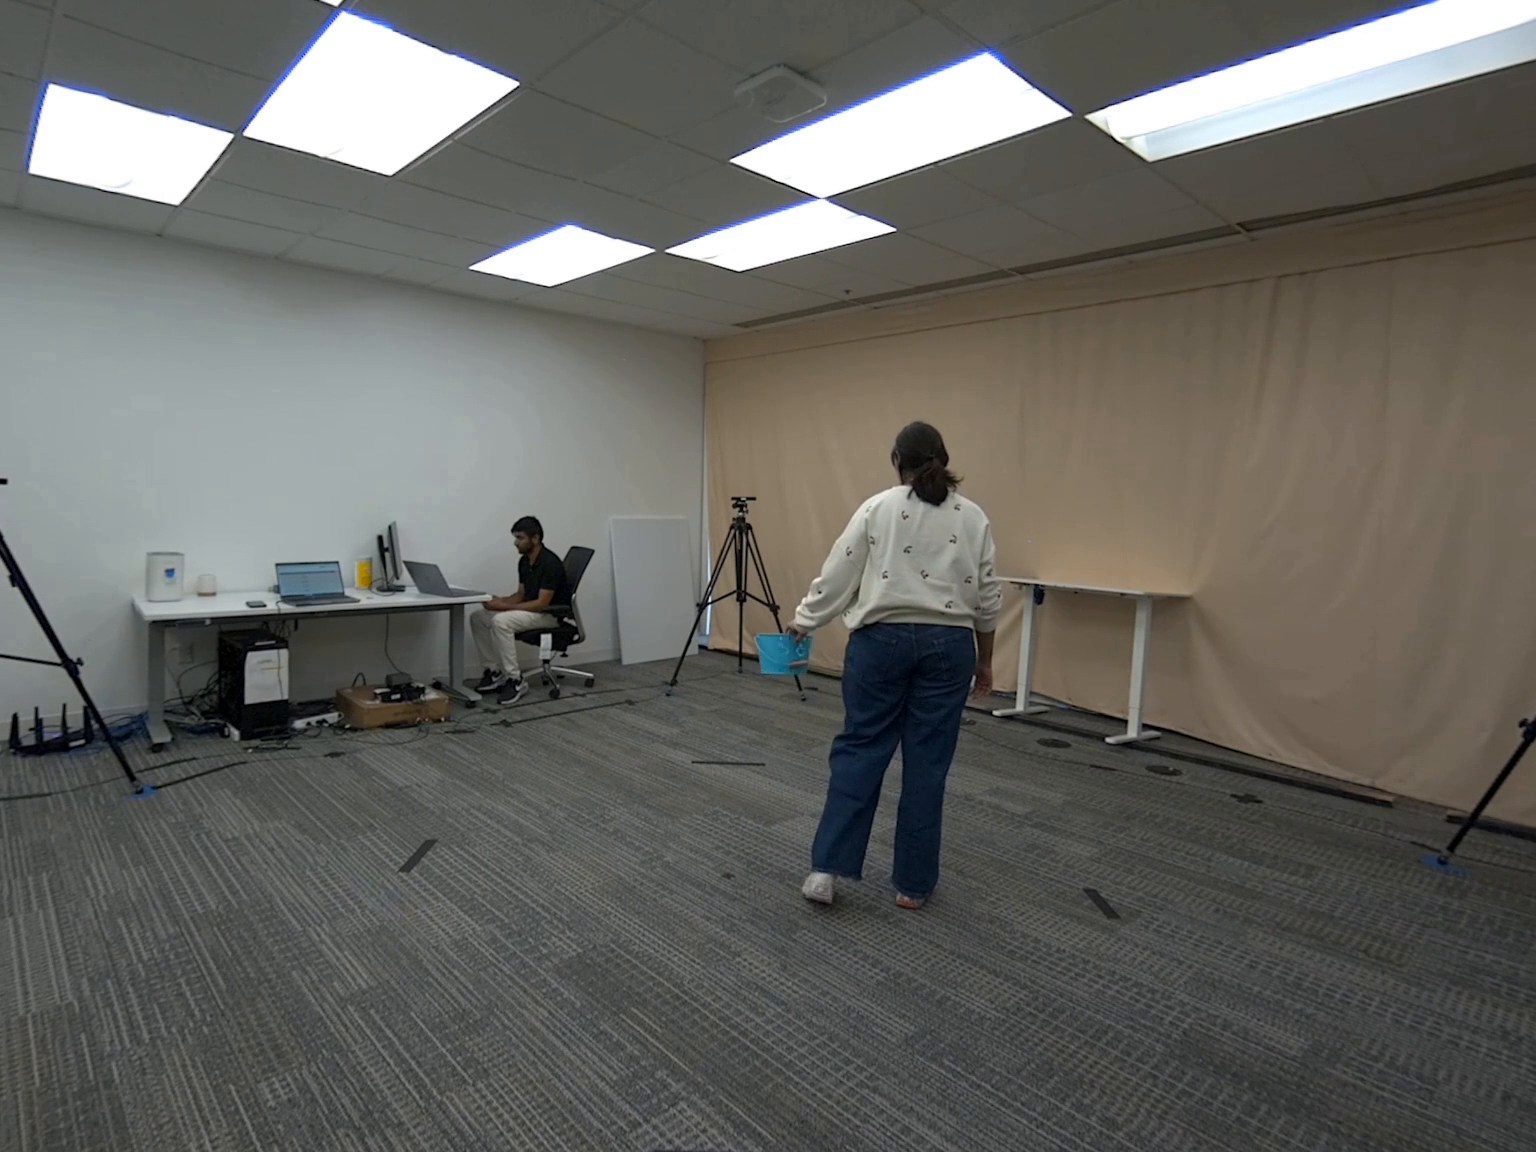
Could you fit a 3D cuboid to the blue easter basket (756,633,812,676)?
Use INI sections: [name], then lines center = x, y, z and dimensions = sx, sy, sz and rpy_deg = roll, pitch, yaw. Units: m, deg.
[blue easter basket]
center = 0.061, 0.316, 3.298
dimensions = 0.243, 0.157, 0.242
rpy_deg = 1, -6, -1
